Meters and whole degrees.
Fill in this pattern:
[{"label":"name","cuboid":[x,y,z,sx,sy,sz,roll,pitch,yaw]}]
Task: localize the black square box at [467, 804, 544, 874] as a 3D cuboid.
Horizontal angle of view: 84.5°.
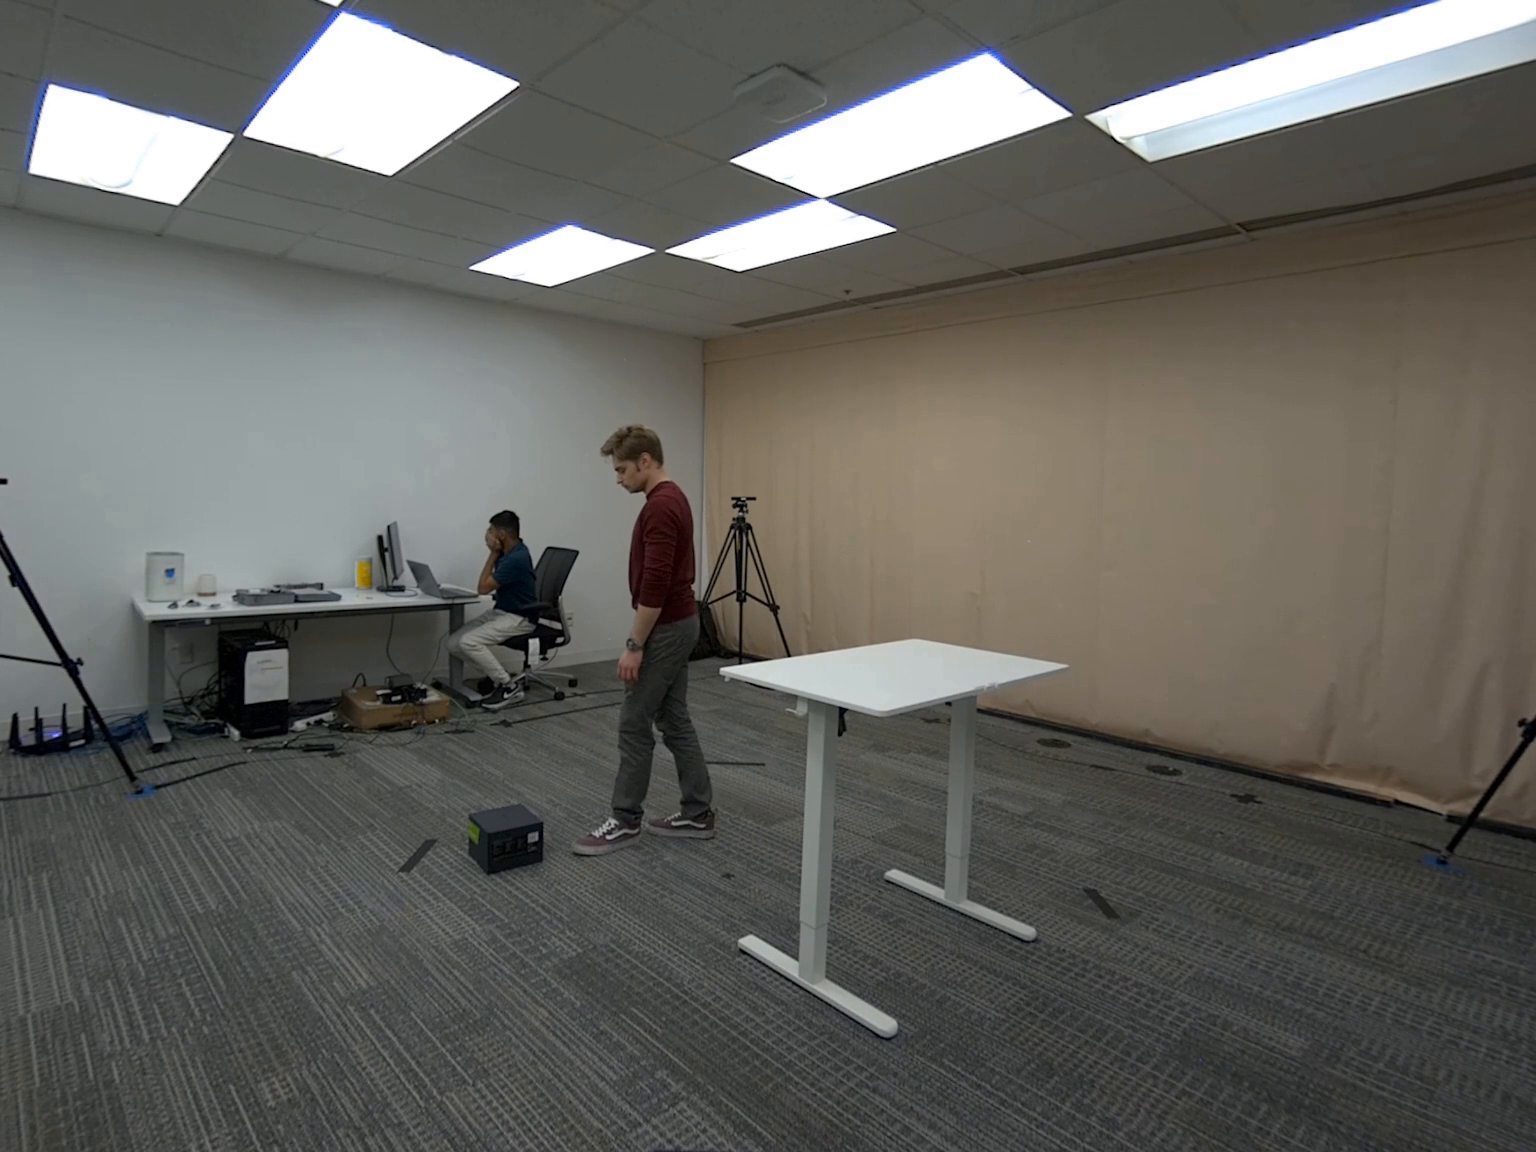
[{"label":"black square box","cuboid":[-1.008,0.995,3.210,0.212,0.155,0.233,-2,6,-37]}]
